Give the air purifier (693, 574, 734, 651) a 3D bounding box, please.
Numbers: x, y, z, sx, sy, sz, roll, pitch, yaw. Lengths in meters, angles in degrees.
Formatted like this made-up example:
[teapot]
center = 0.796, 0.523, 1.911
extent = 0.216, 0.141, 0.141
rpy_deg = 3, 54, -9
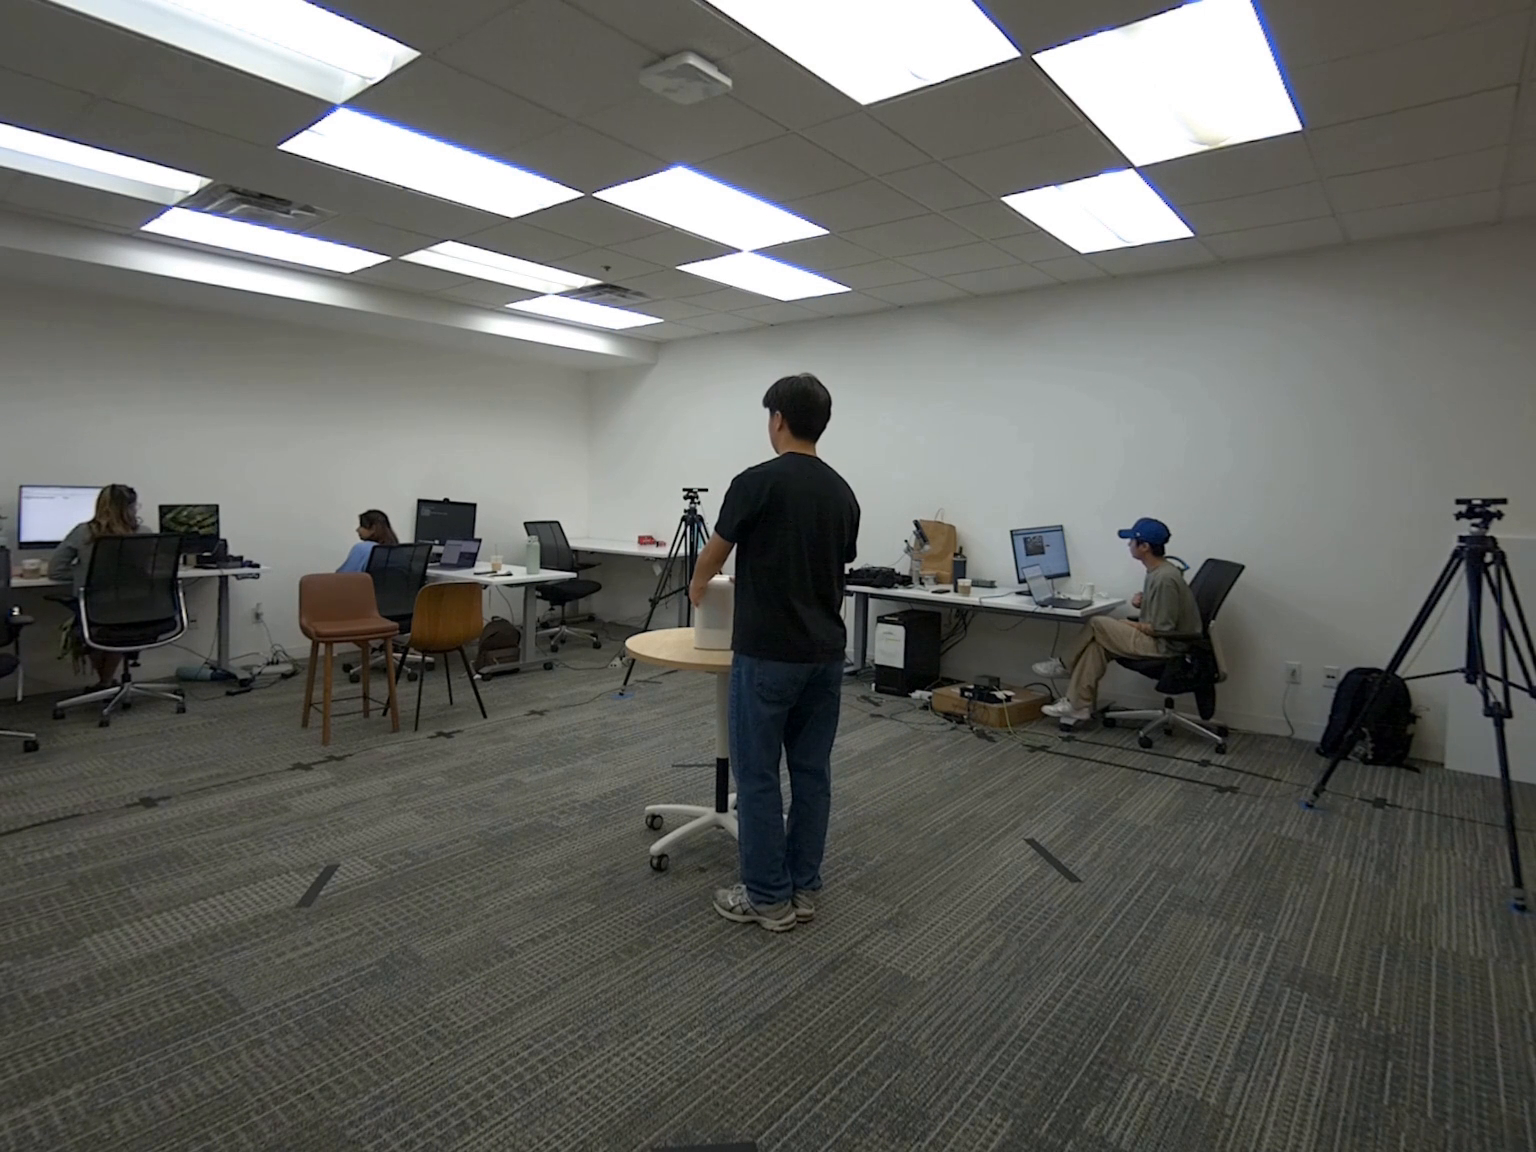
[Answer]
[air purifier]
center = -0.199, 0.132, 3.214
extent = 0.172, 0.264, 0.171
rpy_deg = 1, 4, 3
